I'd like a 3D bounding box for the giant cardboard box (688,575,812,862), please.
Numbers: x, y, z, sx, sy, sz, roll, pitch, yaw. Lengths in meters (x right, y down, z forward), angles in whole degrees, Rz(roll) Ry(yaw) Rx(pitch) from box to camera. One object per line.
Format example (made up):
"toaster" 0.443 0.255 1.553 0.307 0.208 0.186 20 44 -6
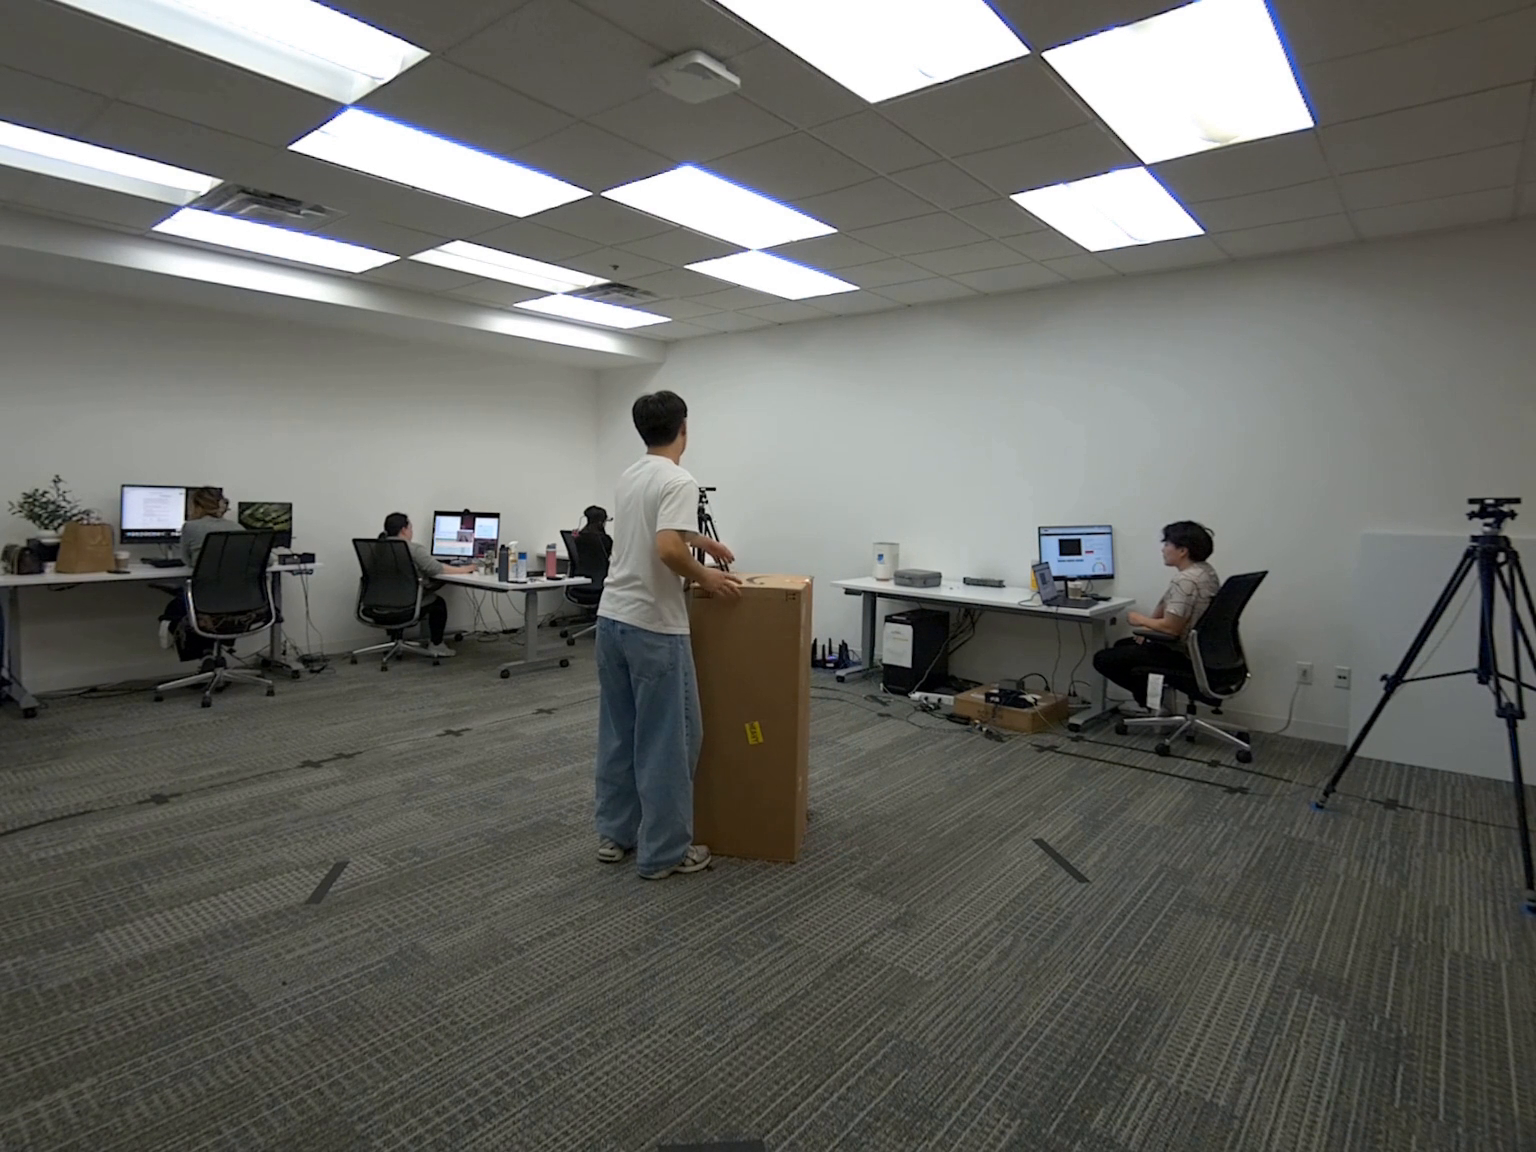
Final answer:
"giant cardboard box" -0.061 0.520 3.463 0.431 1.023 0.573 1 3 8
